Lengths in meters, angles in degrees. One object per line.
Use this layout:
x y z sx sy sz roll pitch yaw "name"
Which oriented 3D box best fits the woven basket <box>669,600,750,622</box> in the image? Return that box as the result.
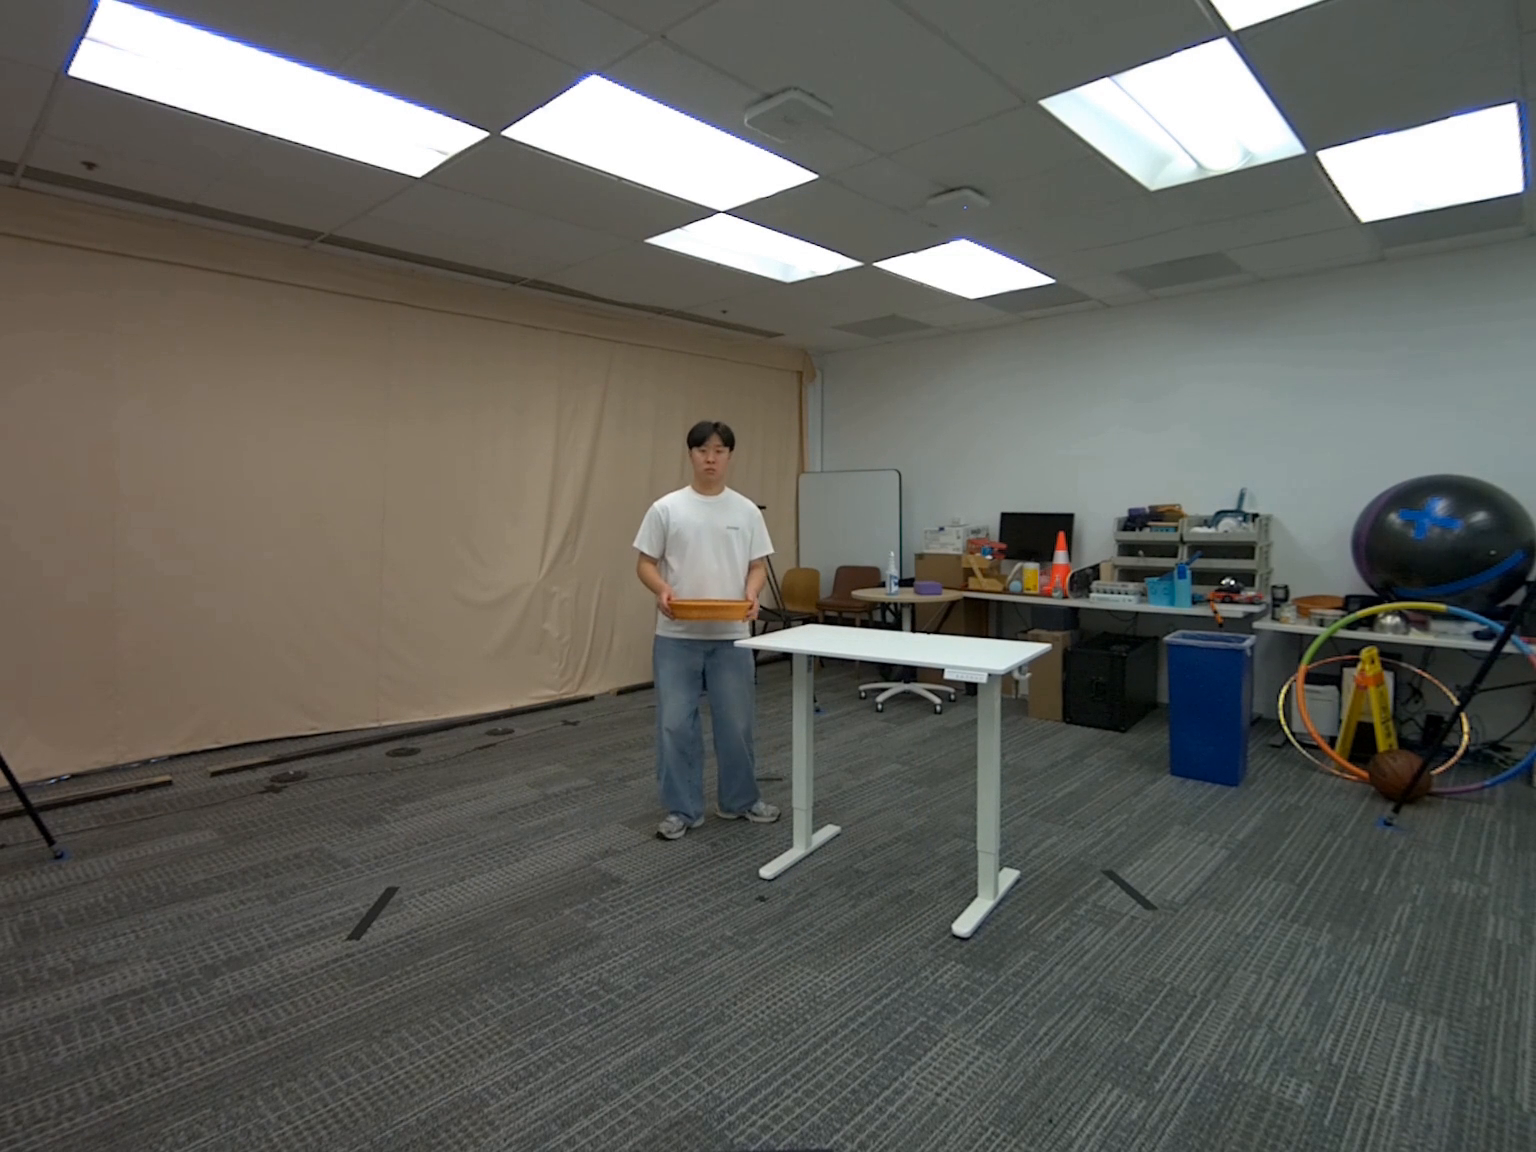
-0.222 0.132 3.364 0.348 0.073 0.255 -1 5 -6 "woven basket"
